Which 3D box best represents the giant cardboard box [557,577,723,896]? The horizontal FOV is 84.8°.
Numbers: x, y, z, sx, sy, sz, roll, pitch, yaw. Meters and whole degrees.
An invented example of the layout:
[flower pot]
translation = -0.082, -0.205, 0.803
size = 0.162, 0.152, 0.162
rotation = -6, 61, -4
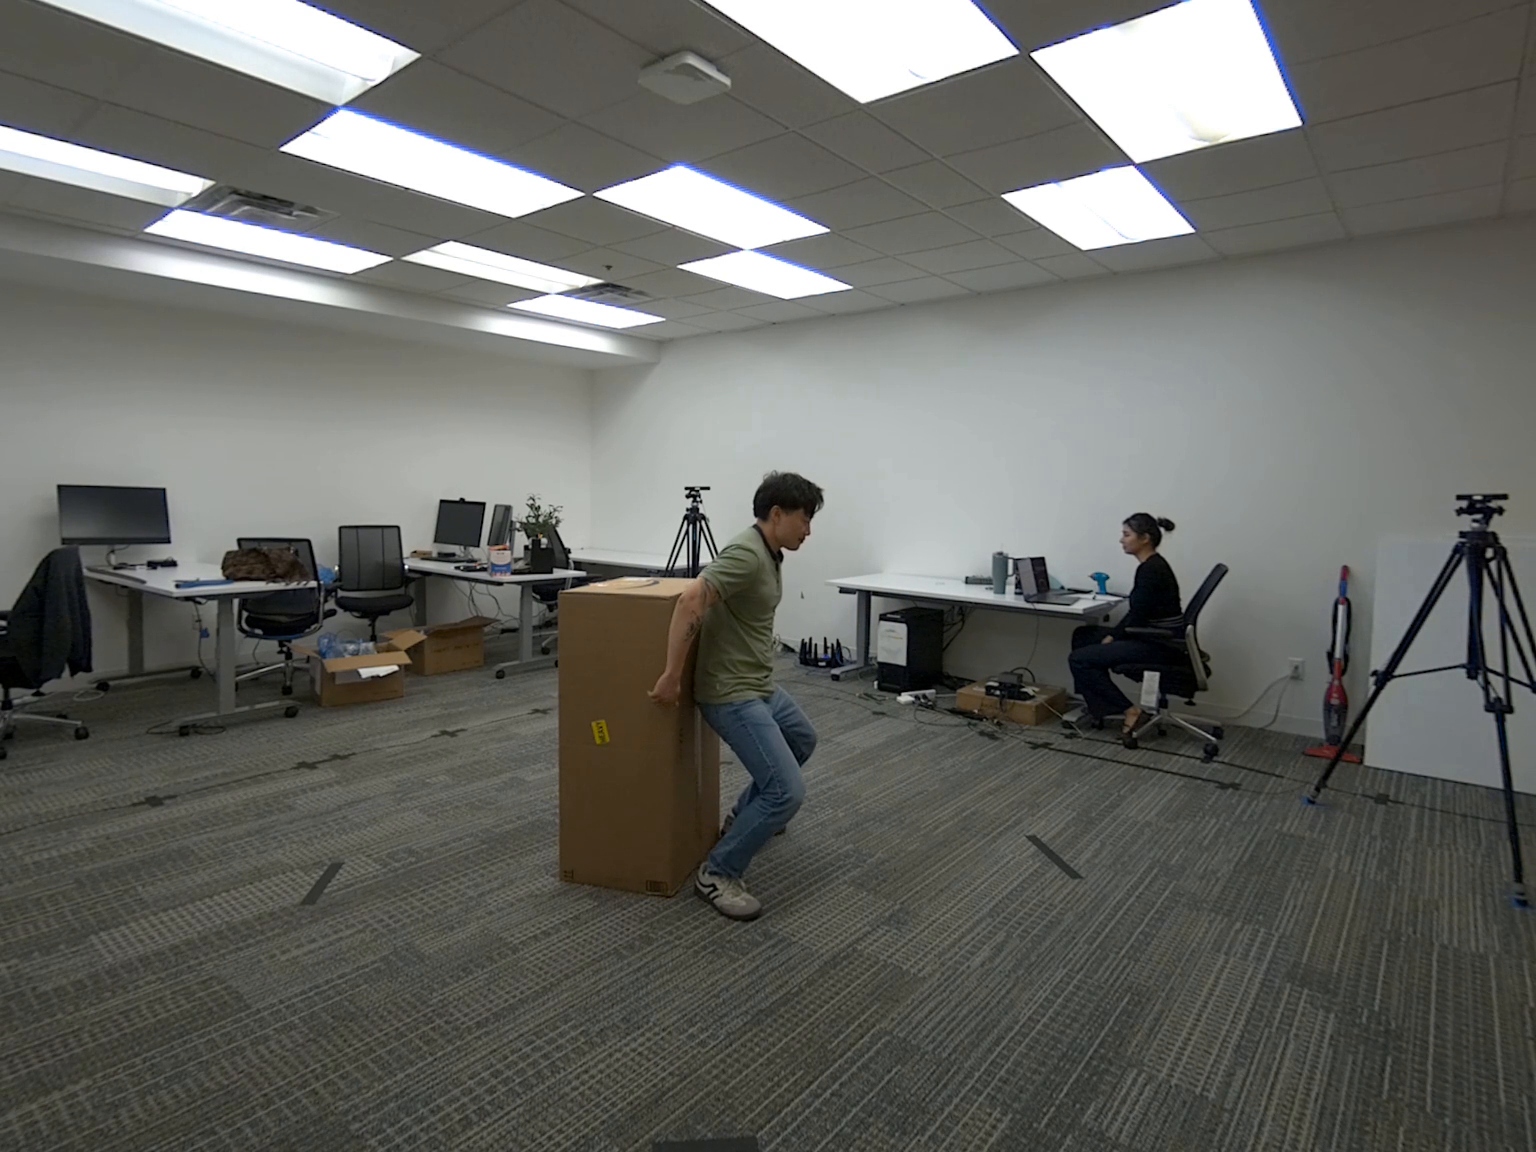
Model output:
[giant cardboard box]
translation = -0.478, 0.539, 3.181
size = 0.434, 1.023, 0.569
rotation = 1, 3, 16
